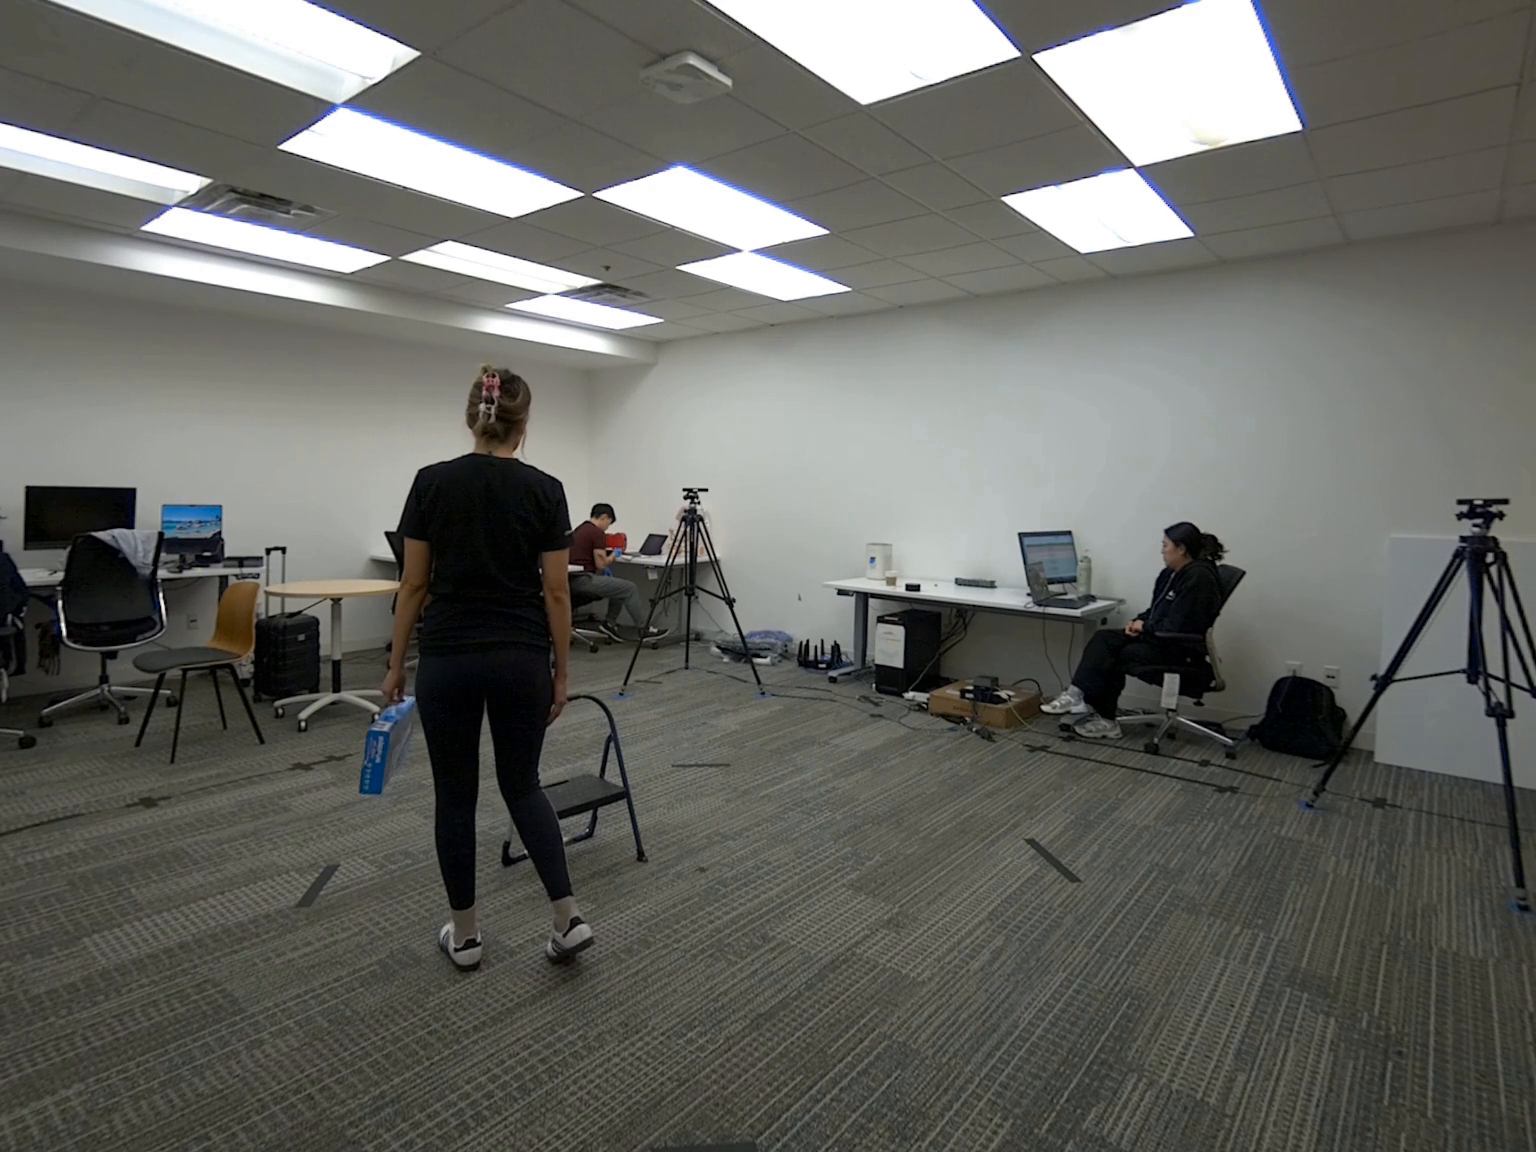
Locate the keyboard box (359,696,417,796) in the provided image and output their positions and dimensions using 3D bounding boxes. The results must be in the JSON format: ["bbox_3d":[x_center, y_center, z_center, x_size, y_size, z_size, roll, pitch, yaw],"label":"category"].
[{"bbox_3d":[-1.110,0.484,2.493,0.058,0.176,0.444,7,3,-14],"label":"keyboard box"}]
